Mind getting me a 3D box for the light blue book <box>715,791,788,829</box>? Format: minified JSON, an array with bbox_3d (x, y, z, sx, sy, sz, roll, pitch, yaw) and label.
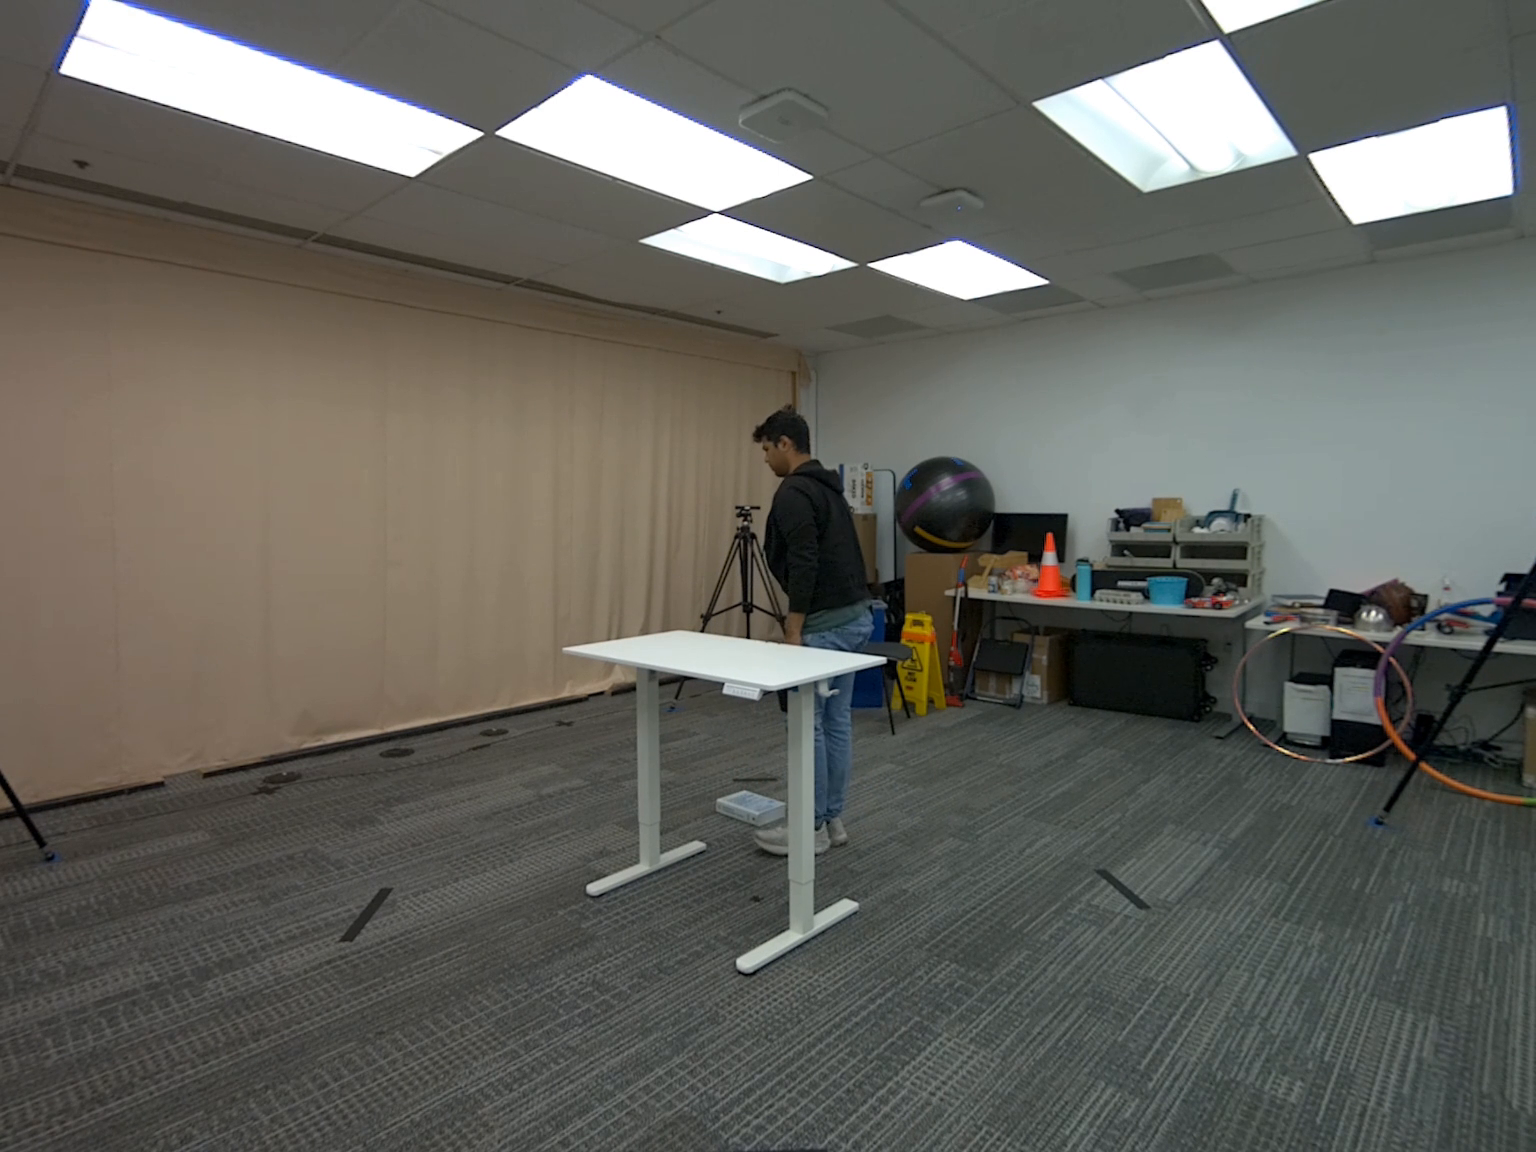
[{"bbox_3d":[-0.077,1.046,3.806,0.270,0.059,0.185,4,5,44],"label":"light blue book"}]
